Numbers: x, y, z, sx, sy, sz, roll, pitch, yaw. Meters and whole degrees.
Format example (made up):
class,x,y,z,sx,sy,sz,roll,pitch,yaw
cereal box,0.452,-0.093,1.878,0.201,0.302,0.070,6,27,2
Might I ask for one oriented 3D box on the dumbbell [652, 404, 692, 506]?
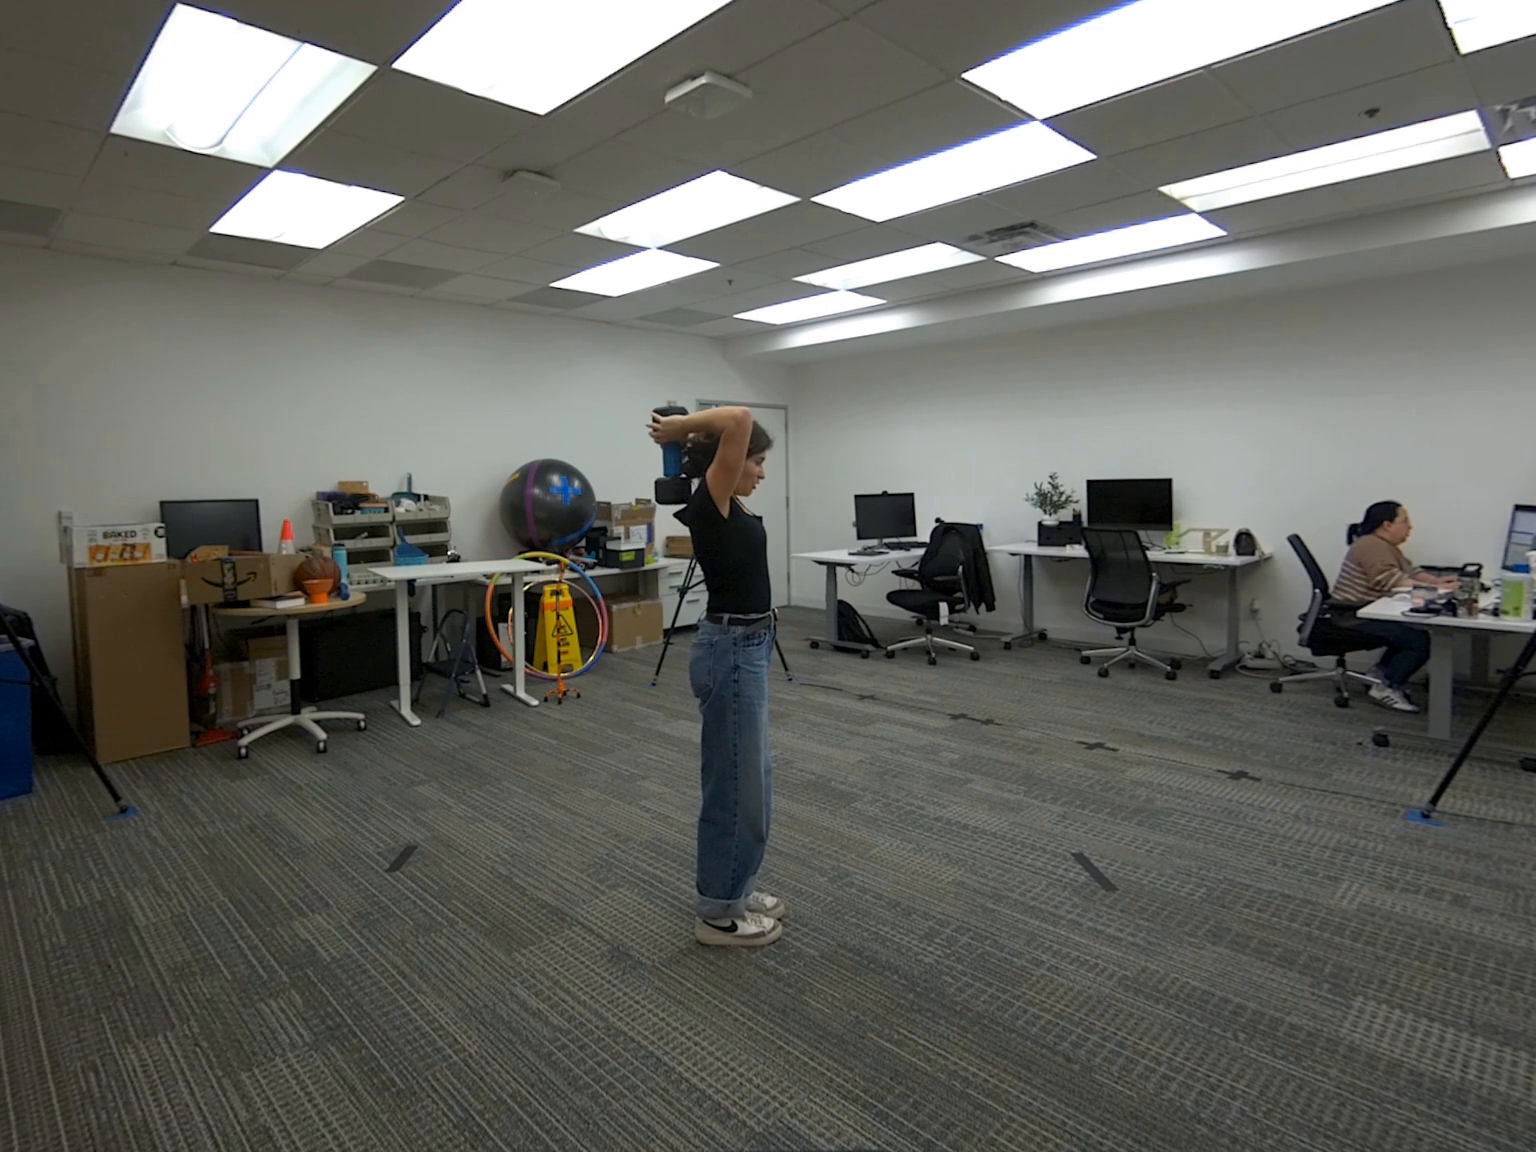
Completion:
class,x,y,z,sx,sy,sz,roll,pitch,yaw
dumbbell,-0.282,-0.366,2.589,0.126,0.294,0.106,-2,0,34
